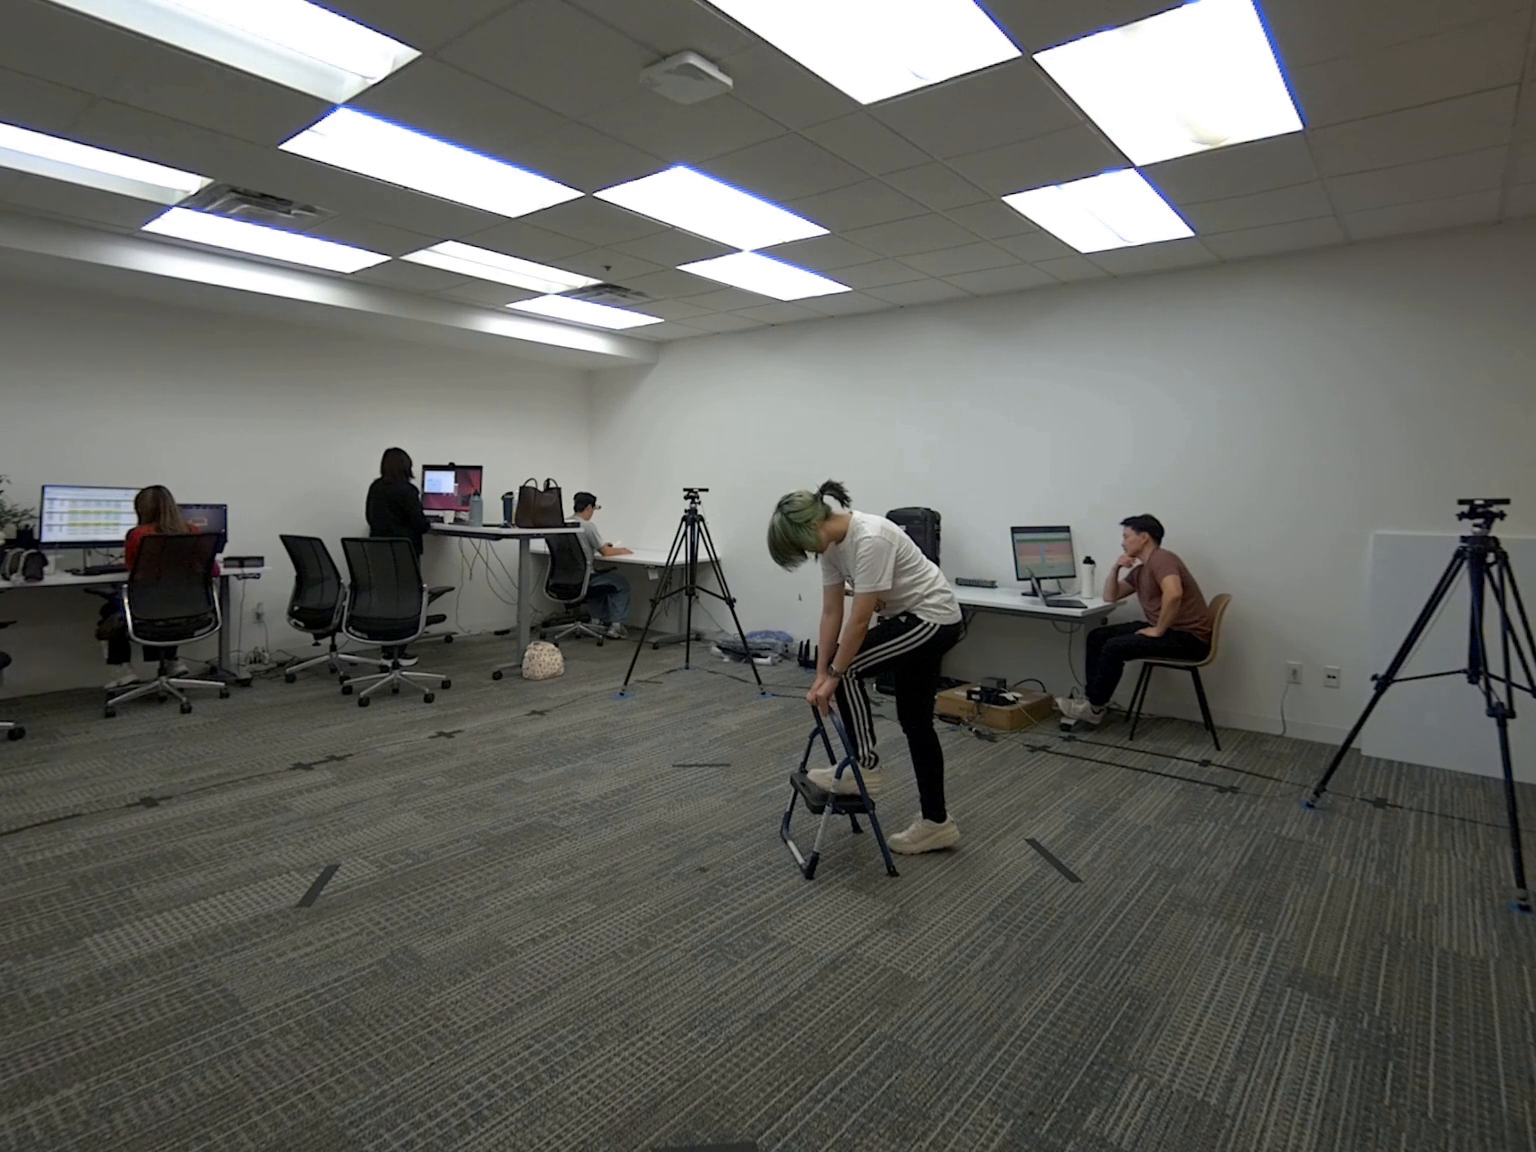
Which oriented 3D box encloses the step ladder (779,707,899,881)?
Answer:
[{"bbox_3d":[0.260,0.769,3.258,0.345,0.604,0.437,1,3,-13],"label":"step ladder"}]
